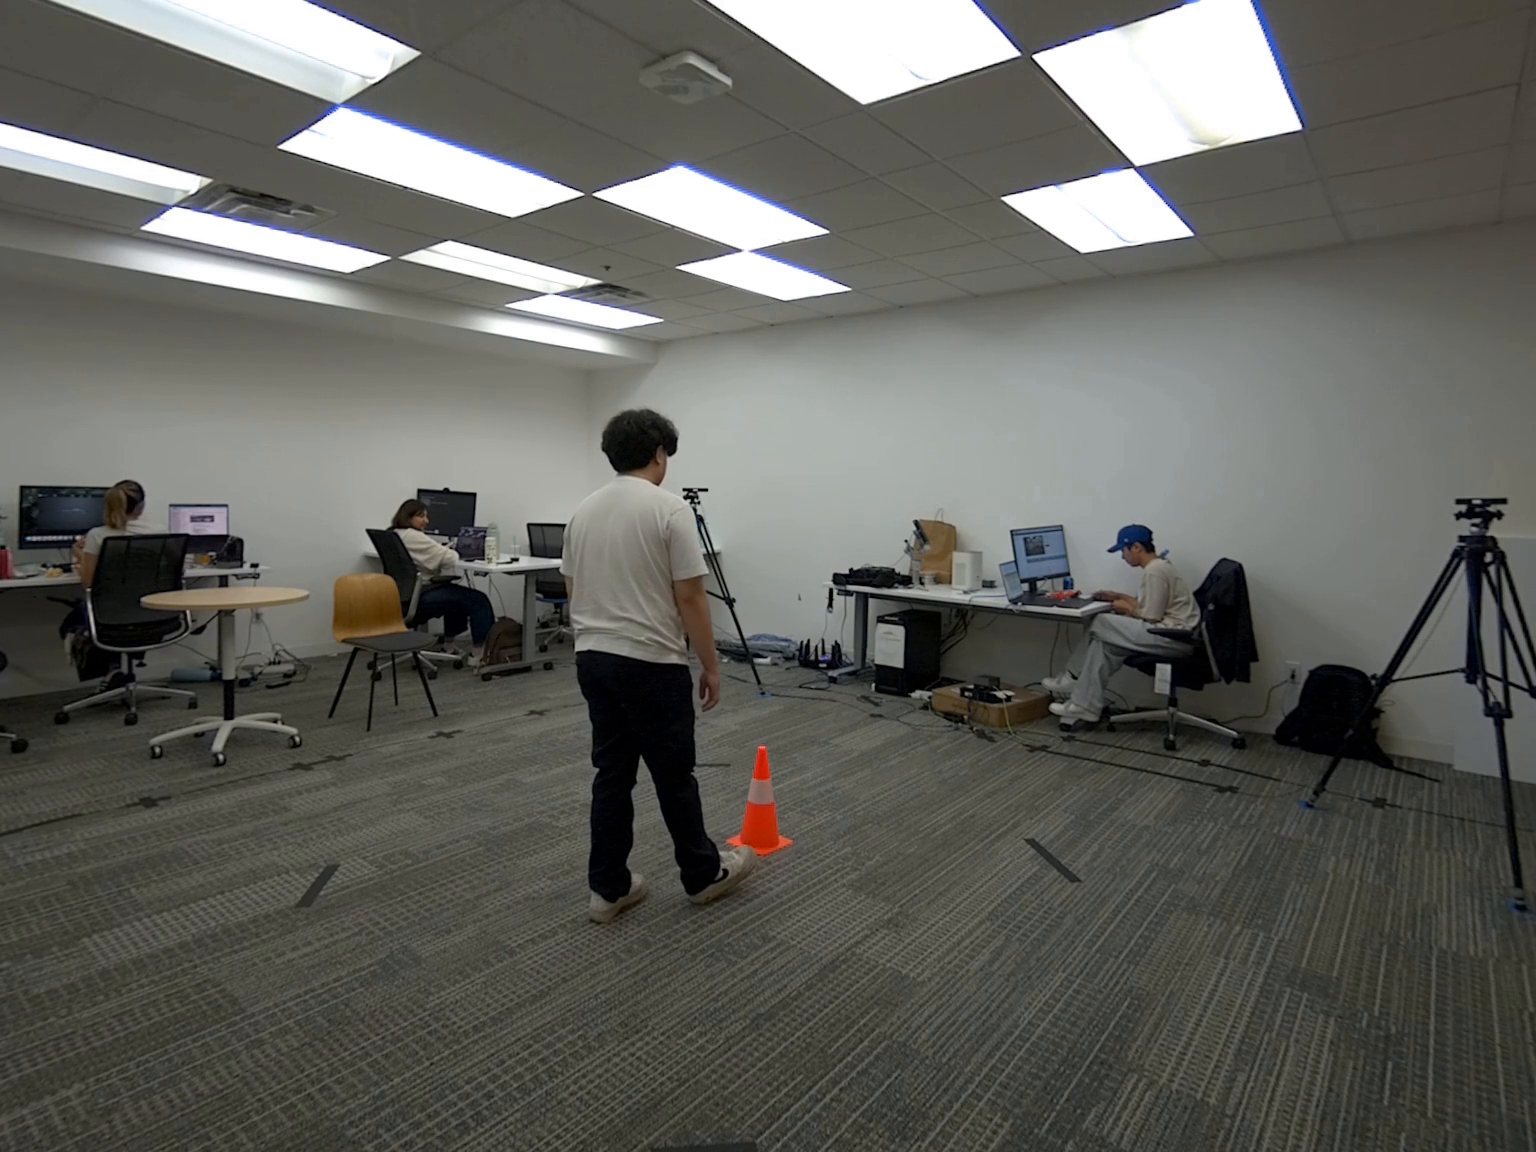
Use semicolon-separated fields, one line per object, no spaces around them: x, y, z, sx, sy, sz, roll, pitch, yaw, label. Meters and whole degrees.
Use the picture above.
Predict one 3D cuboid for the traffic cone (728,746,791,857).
-0.041;0.859;3.360;0.210;0.382;0.199;4;4;43;traffic cone
